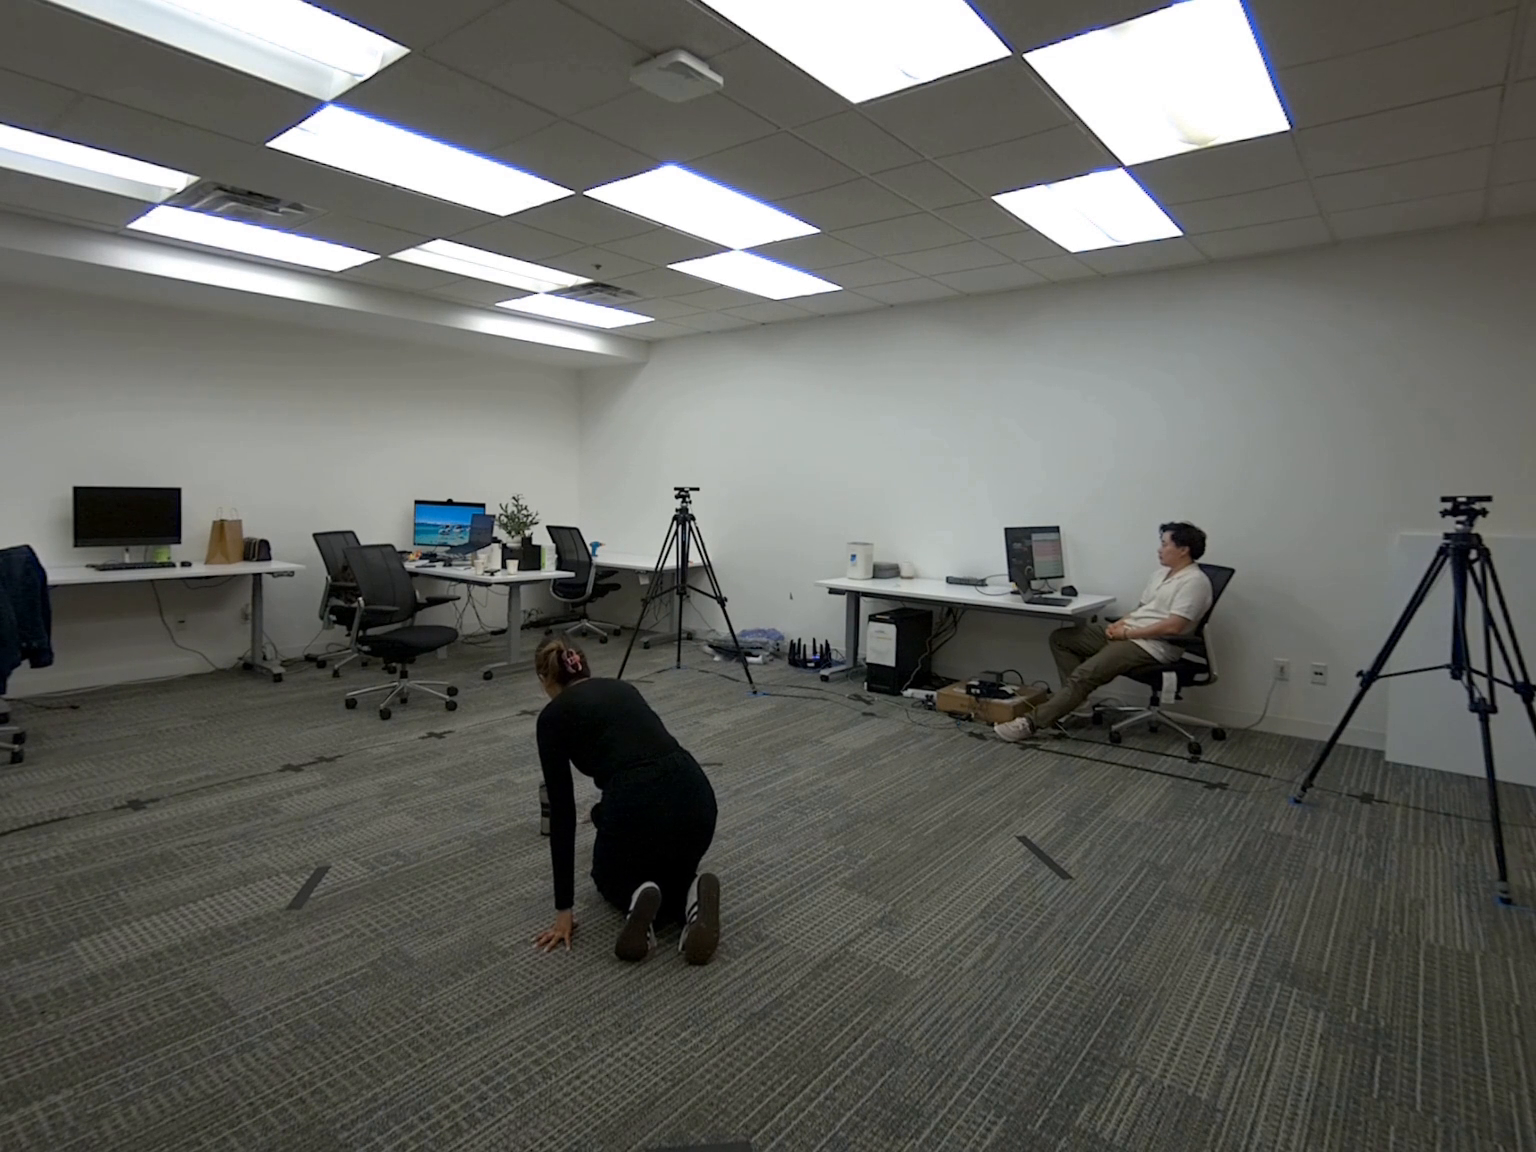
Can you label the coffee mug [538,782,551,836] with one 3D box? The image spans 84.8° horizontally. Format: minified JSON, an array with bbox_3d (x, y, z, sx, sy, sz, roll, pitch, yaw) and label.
[{"bbox_3d":[-0.885,0.930,3.426,0.090,0.202,0.120,-2,5,20],"label":"coffee mug"}]
